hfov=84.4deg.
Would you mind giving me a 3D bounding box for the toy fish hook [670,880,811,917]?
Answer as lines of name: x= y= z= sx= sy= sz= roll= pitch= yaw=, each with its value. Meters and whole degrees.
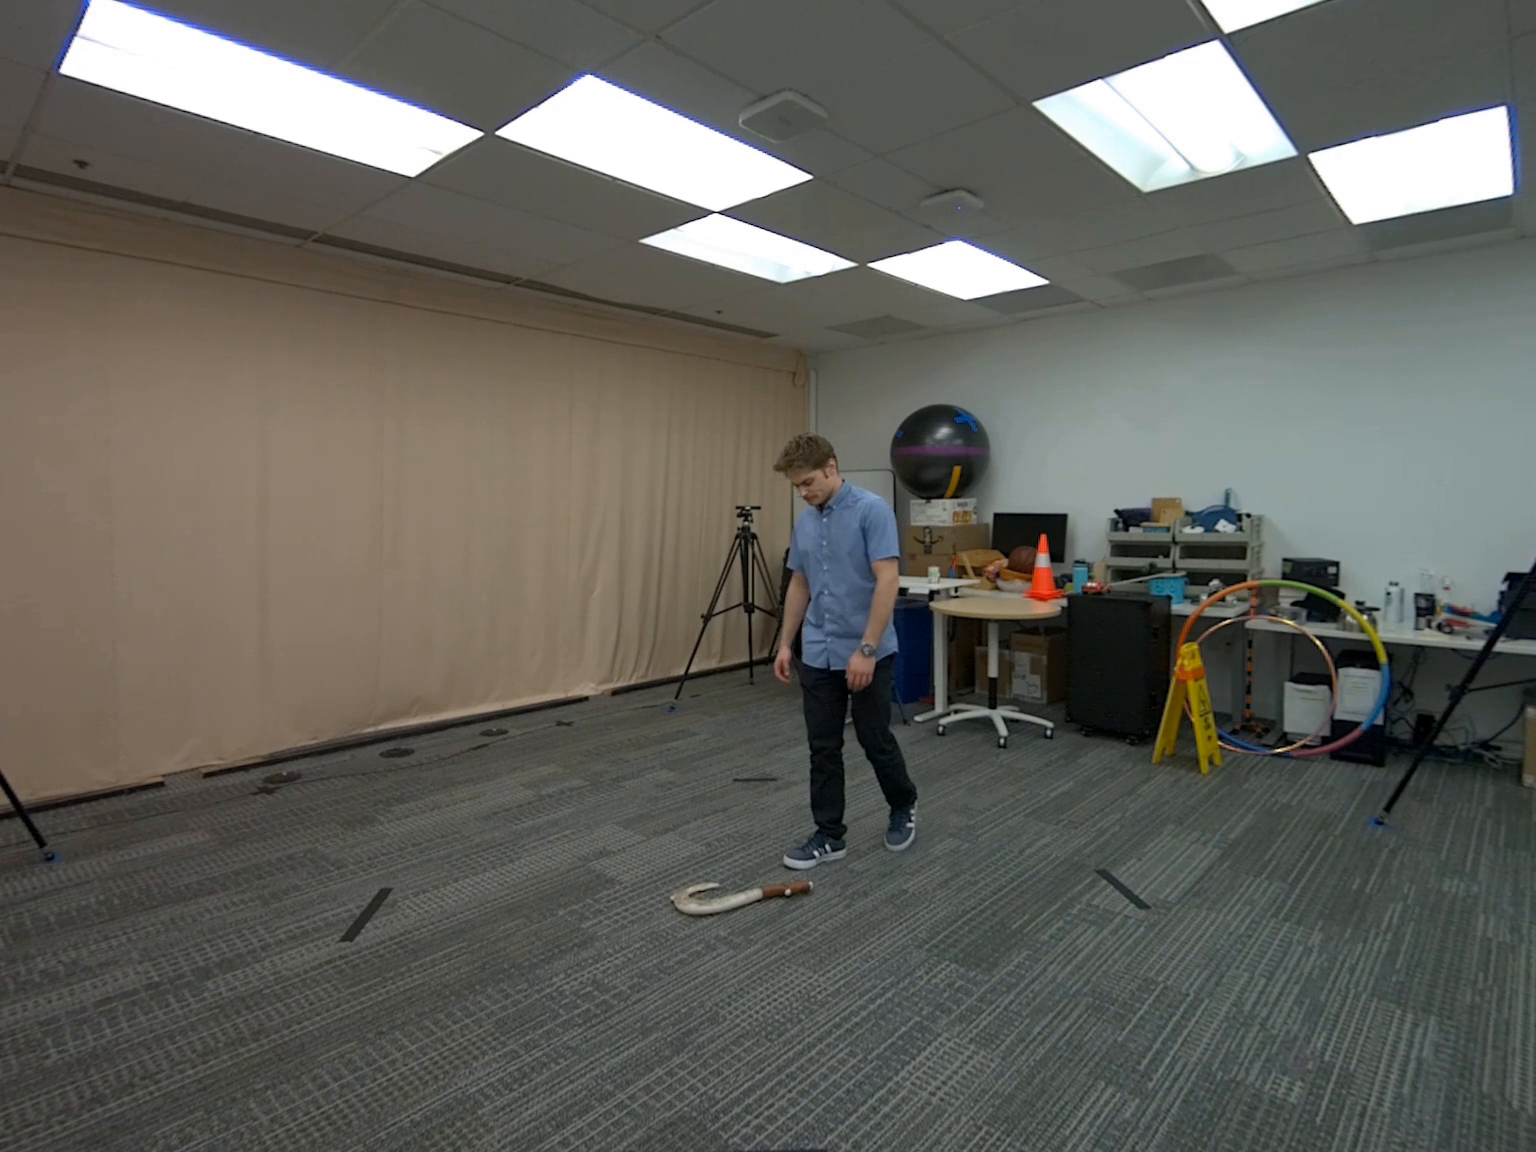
toy fish hook: x=-0.089 y=1.120 z=2.997 sx=0.497 sy=0.048 sz=0.229 roll=-1 pitch=5 yaw=-20
